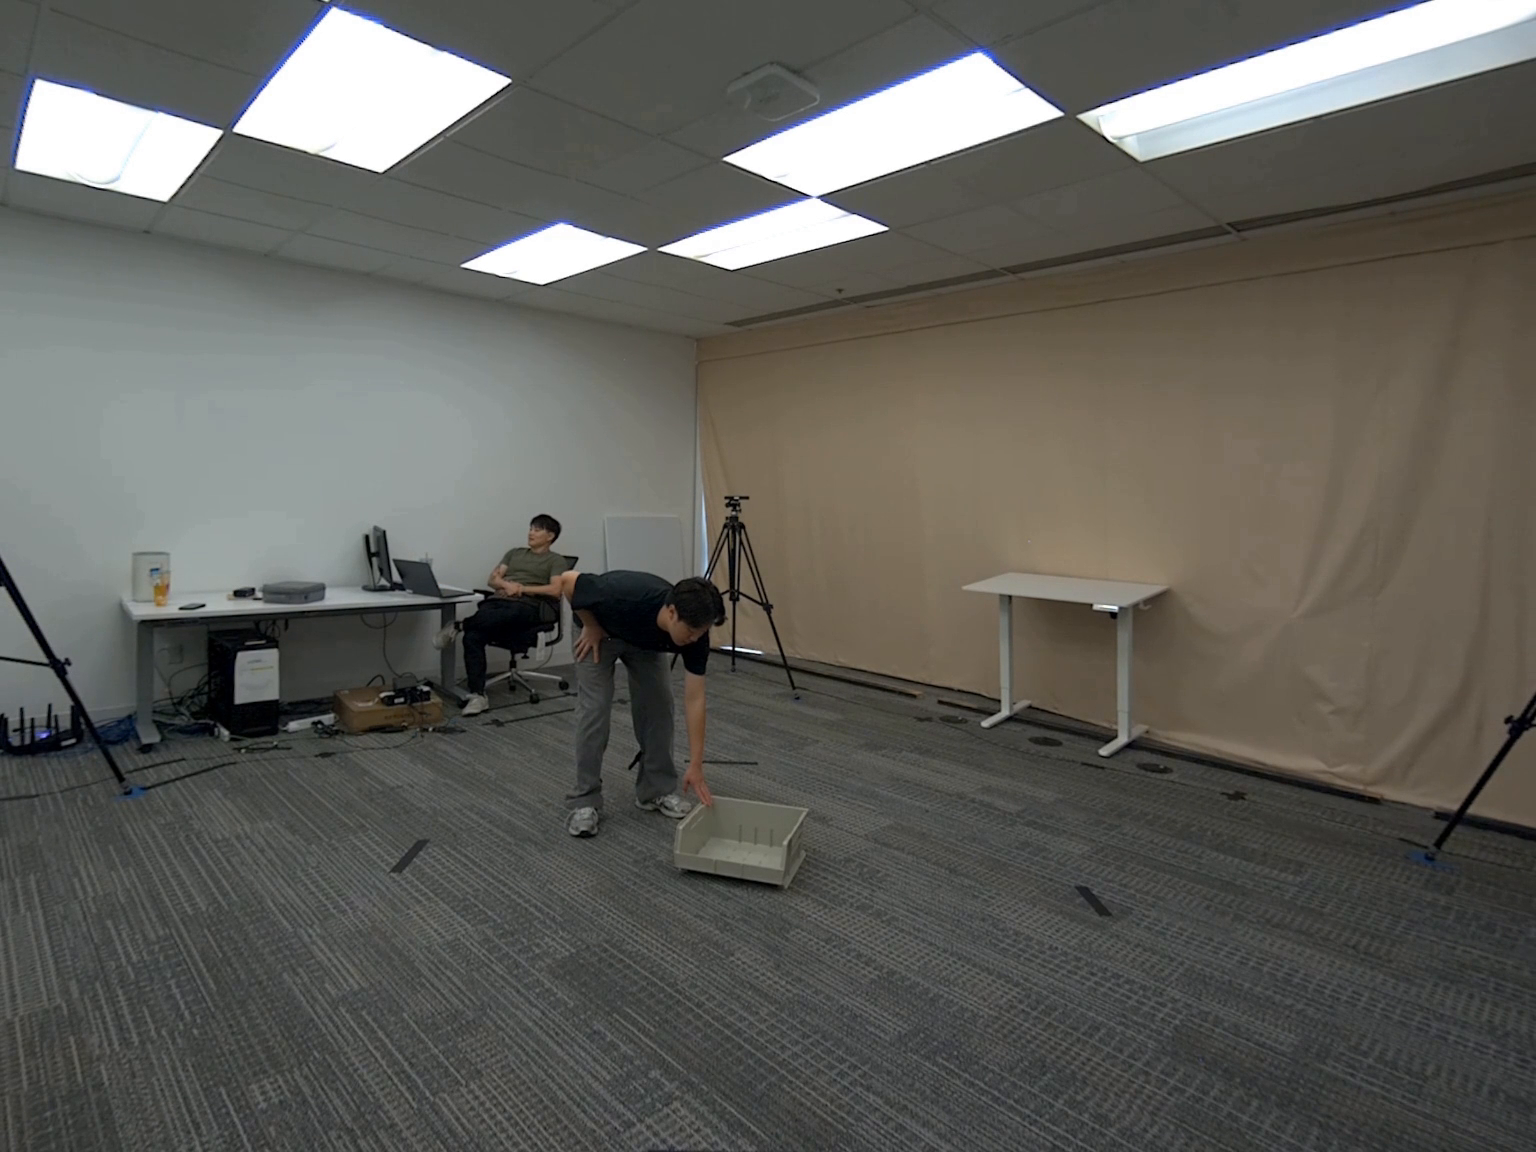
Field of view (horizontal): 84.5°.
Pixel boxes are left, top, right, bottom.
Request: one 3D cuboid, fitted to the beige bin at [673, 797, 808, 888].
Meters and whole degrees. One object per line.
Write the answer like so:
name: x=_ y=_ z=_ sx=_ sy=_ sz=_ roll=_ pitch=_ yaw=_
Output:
beige bin: x=-0.098 y=1.010 z=3.187 sx=0.428 sy=0.188 sz=0.373 roll=2 pitch=4 yaw=16
